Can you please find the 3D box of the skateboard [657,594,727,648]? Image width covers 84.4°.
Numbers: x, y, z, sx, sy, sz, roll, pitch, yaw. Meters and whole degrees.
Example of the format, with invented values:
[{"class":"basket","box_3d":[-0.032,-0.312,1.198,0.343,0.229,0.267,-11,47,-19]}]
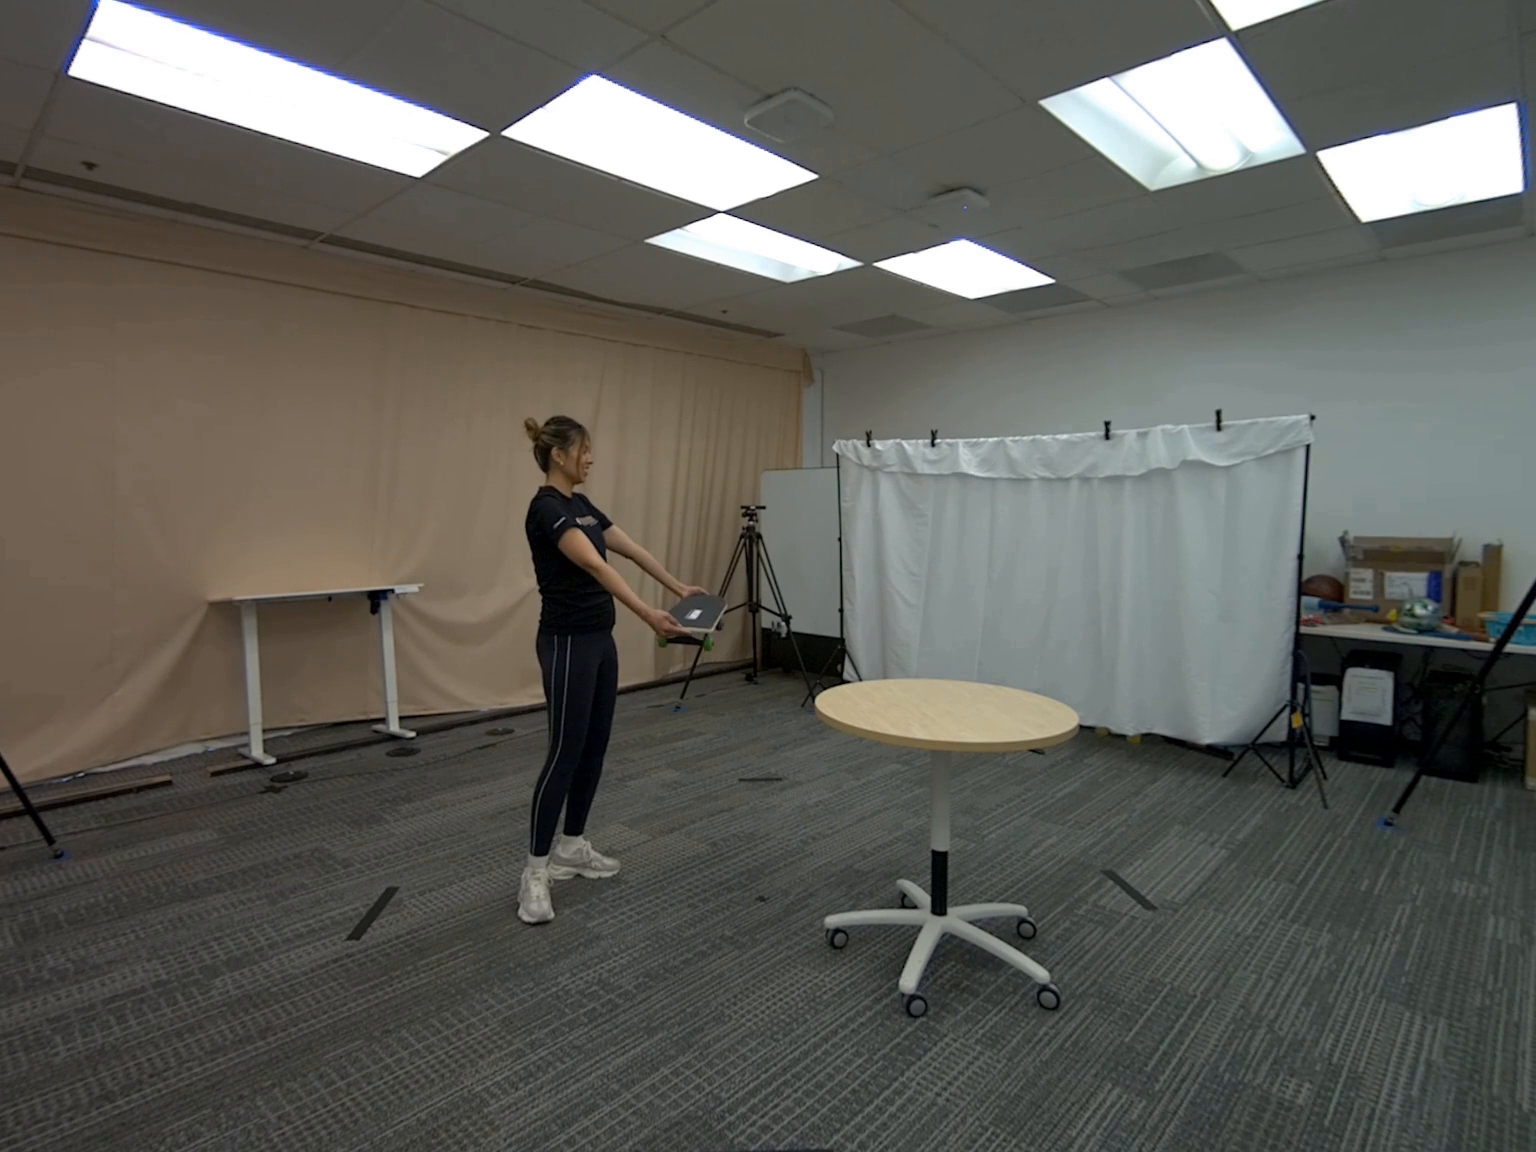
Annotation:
[{"class":"skateboard","box_3d":[-0.272,0.170,3.027,0.194,0.110,0.783,5,7,3]}]
